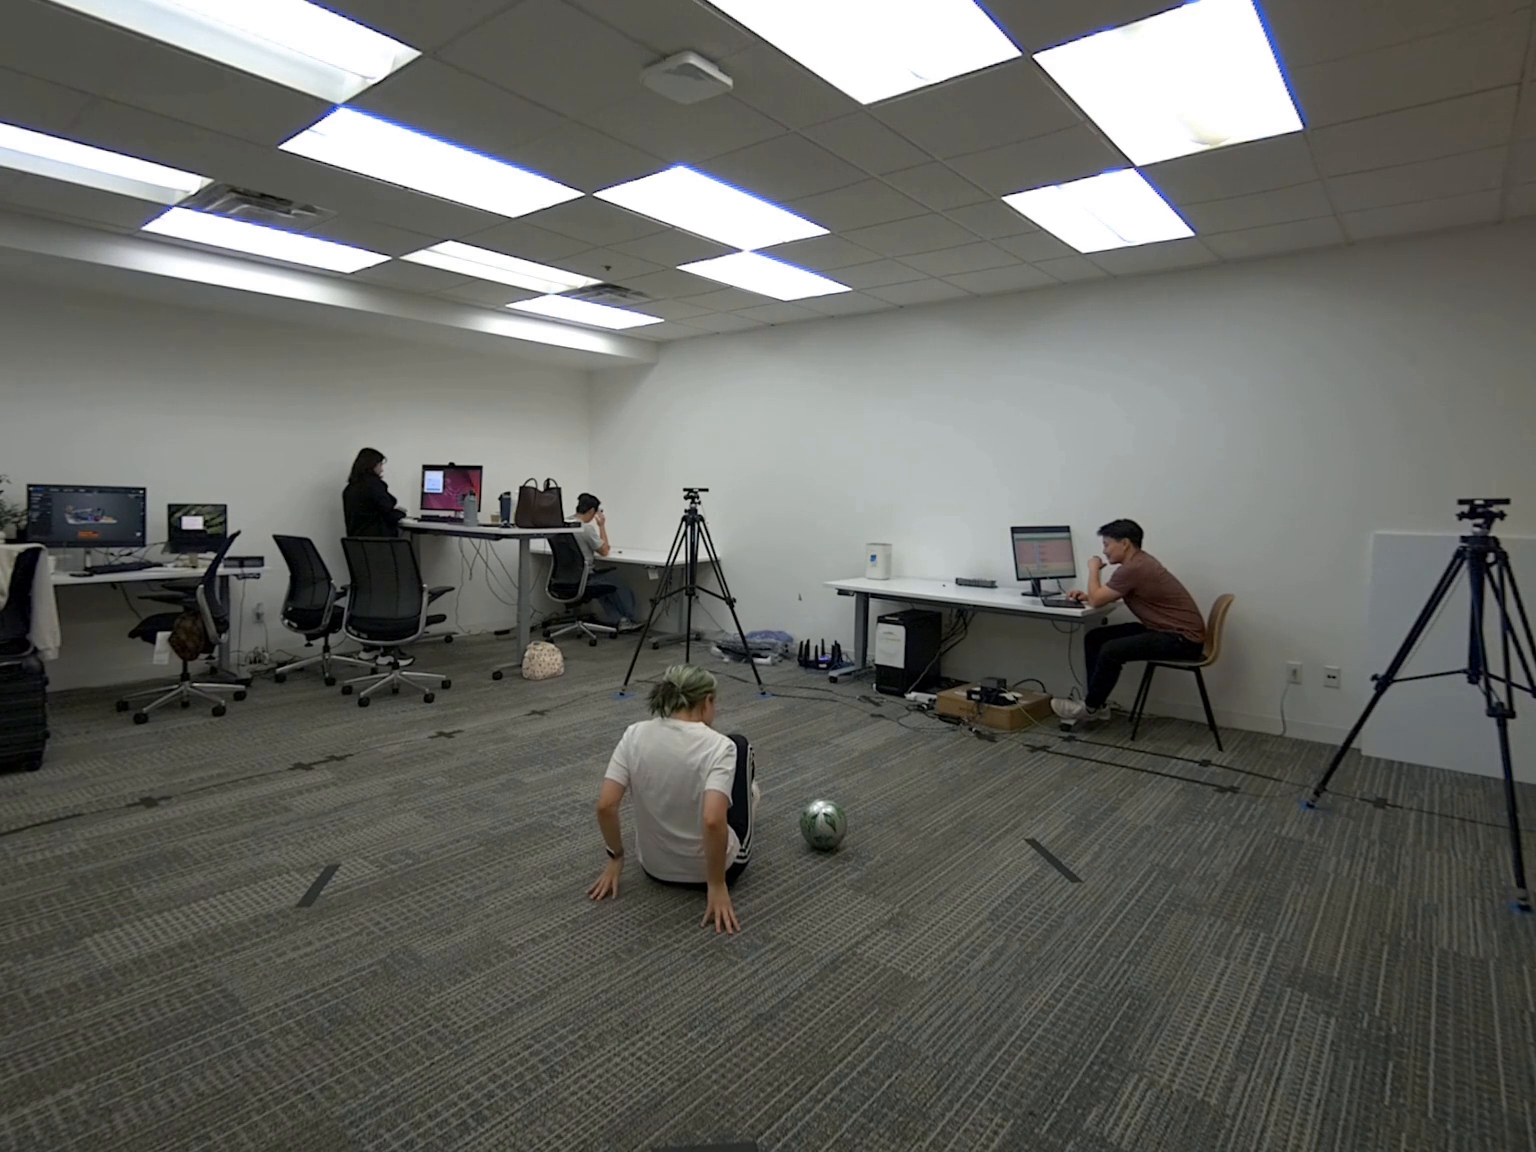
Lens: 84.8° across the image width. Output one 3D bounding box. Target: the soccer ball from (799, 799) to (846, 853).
[{"bbox_3d":[0.209,0.968,3.320,0.187,0.187,0.188,1,4,-2],"label":"soccer ball"}]
